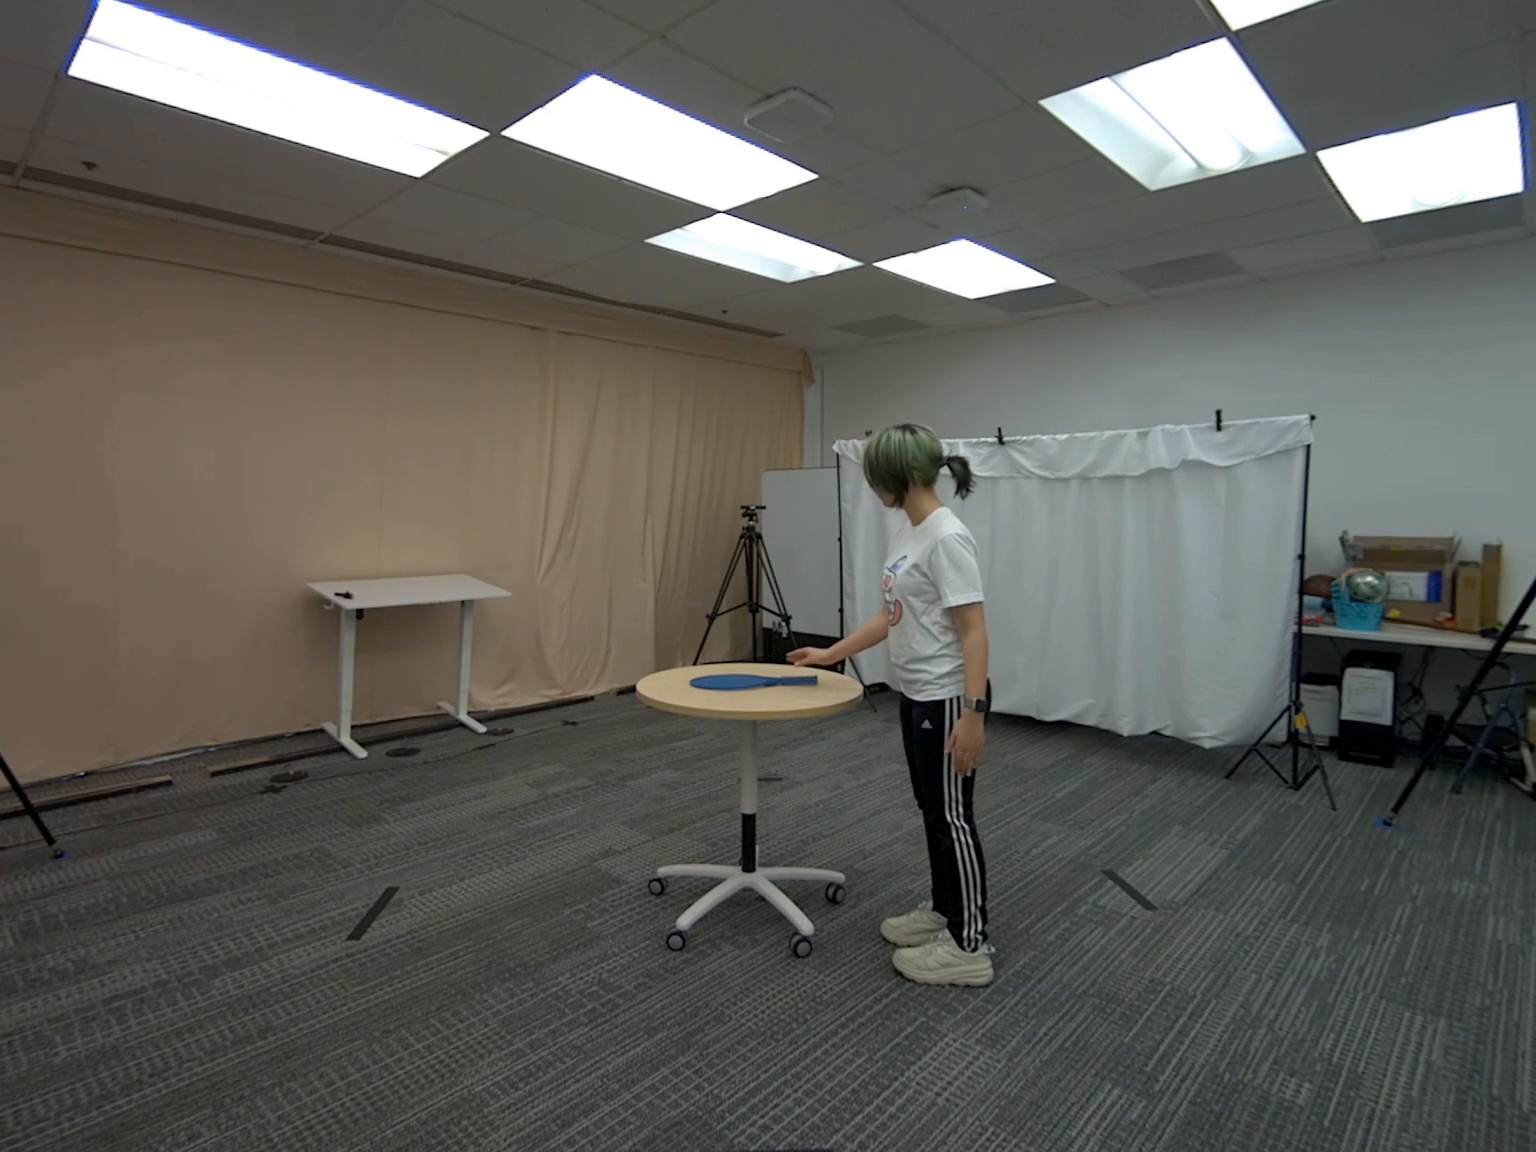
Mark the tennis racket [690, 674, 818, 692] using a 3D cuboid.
[{"bbox_3d":[-0.039,0.361,2.851,0.435,0.032,0.213,-1,5,4],"label":"tennis racket"}]
